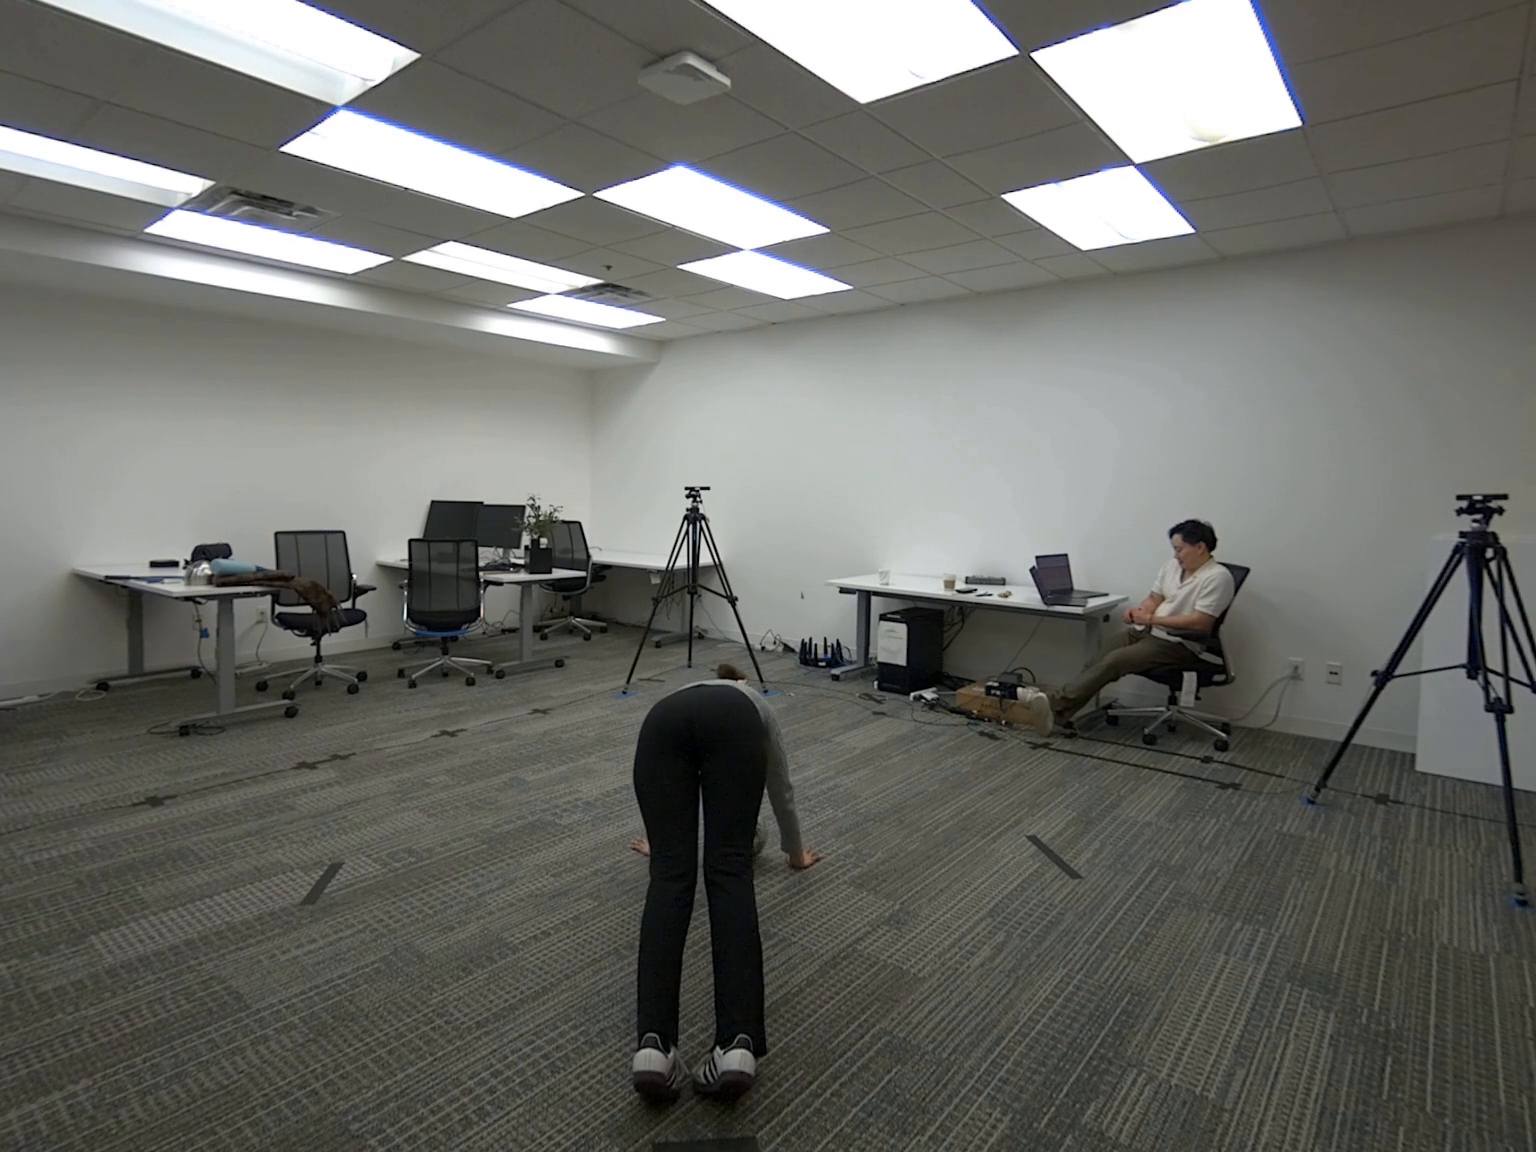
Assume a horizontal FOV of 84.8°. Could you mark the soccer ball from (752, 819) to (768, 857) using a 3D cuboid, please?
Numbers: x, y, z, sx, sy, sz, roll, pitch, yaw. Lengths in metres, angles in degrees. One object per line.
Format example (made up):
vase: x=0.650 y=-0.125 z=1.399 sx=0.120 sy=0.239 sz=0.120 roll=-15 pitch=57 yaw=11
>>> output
soccer ball: x=-0.097 y=0.959 z=3.189 sx=0.187 sy=0.187 sz=0.188 roll=1 pitch=4 yaw=-2
